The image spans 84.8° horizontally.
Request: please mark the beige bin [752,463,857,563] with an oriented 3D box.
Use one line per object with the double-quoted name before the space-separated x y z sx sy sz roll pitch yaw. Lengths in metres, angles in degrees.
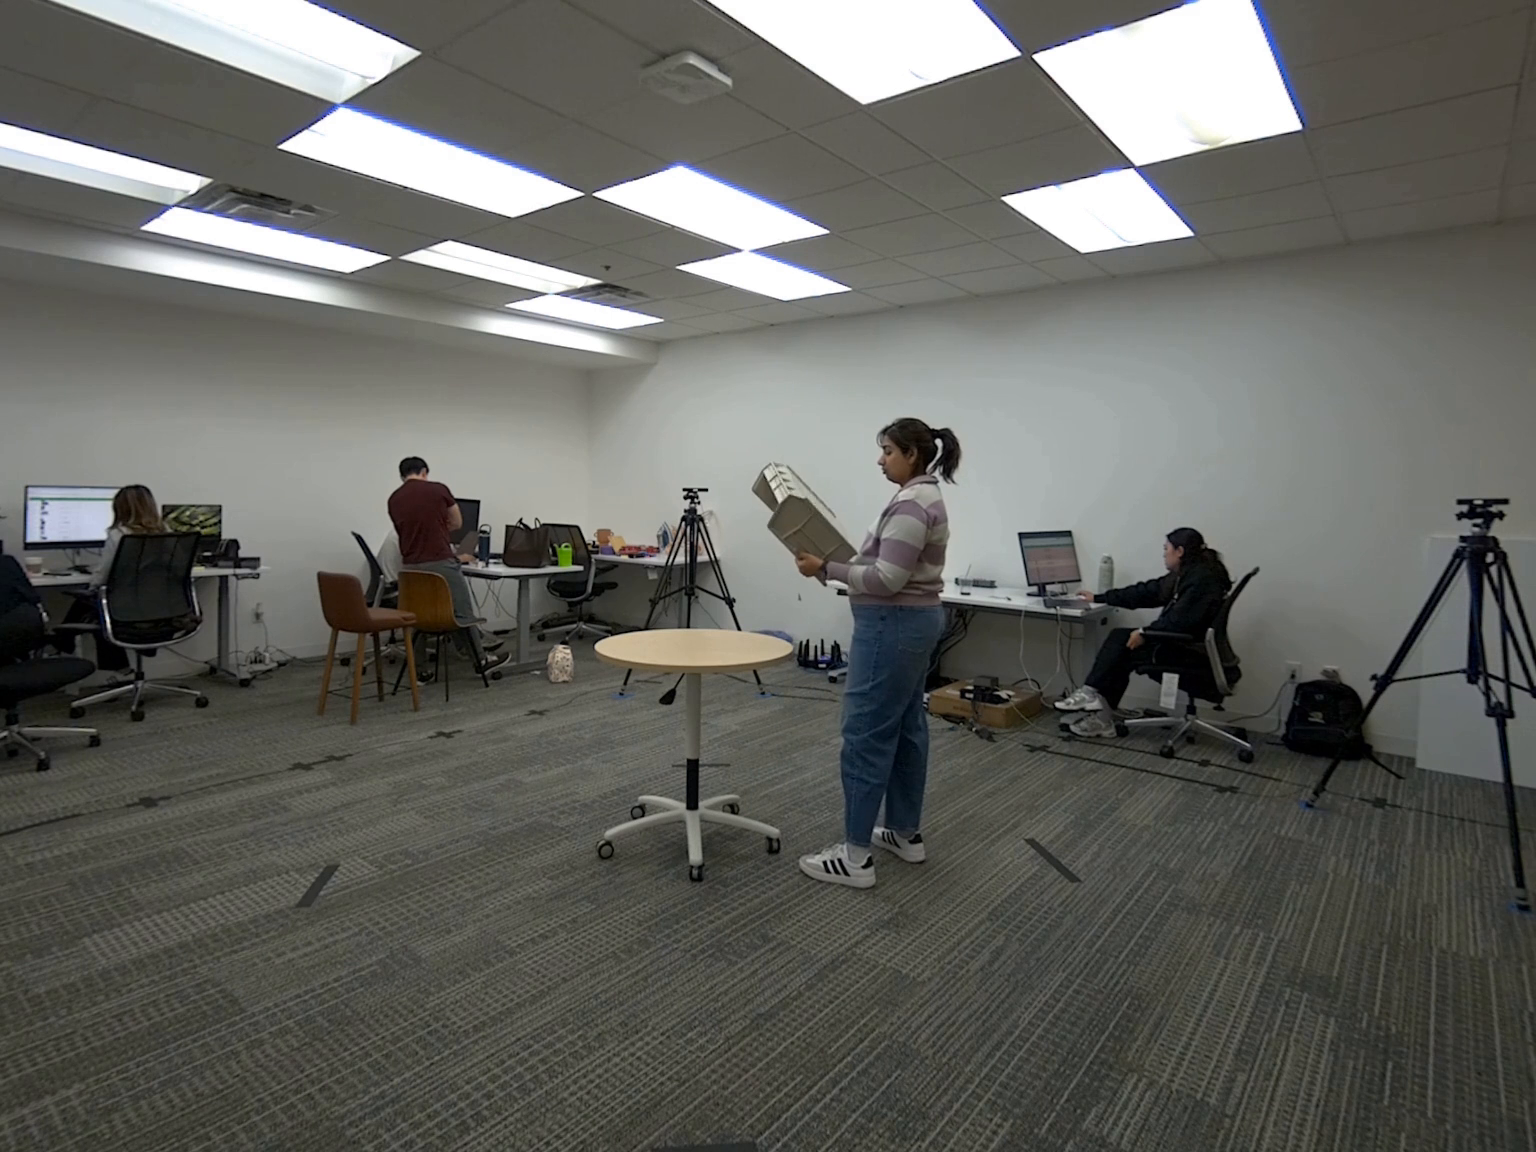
"beige bin" 0.116 -0.228 3.322 0.367 0.189 0.434 43 11 -22
